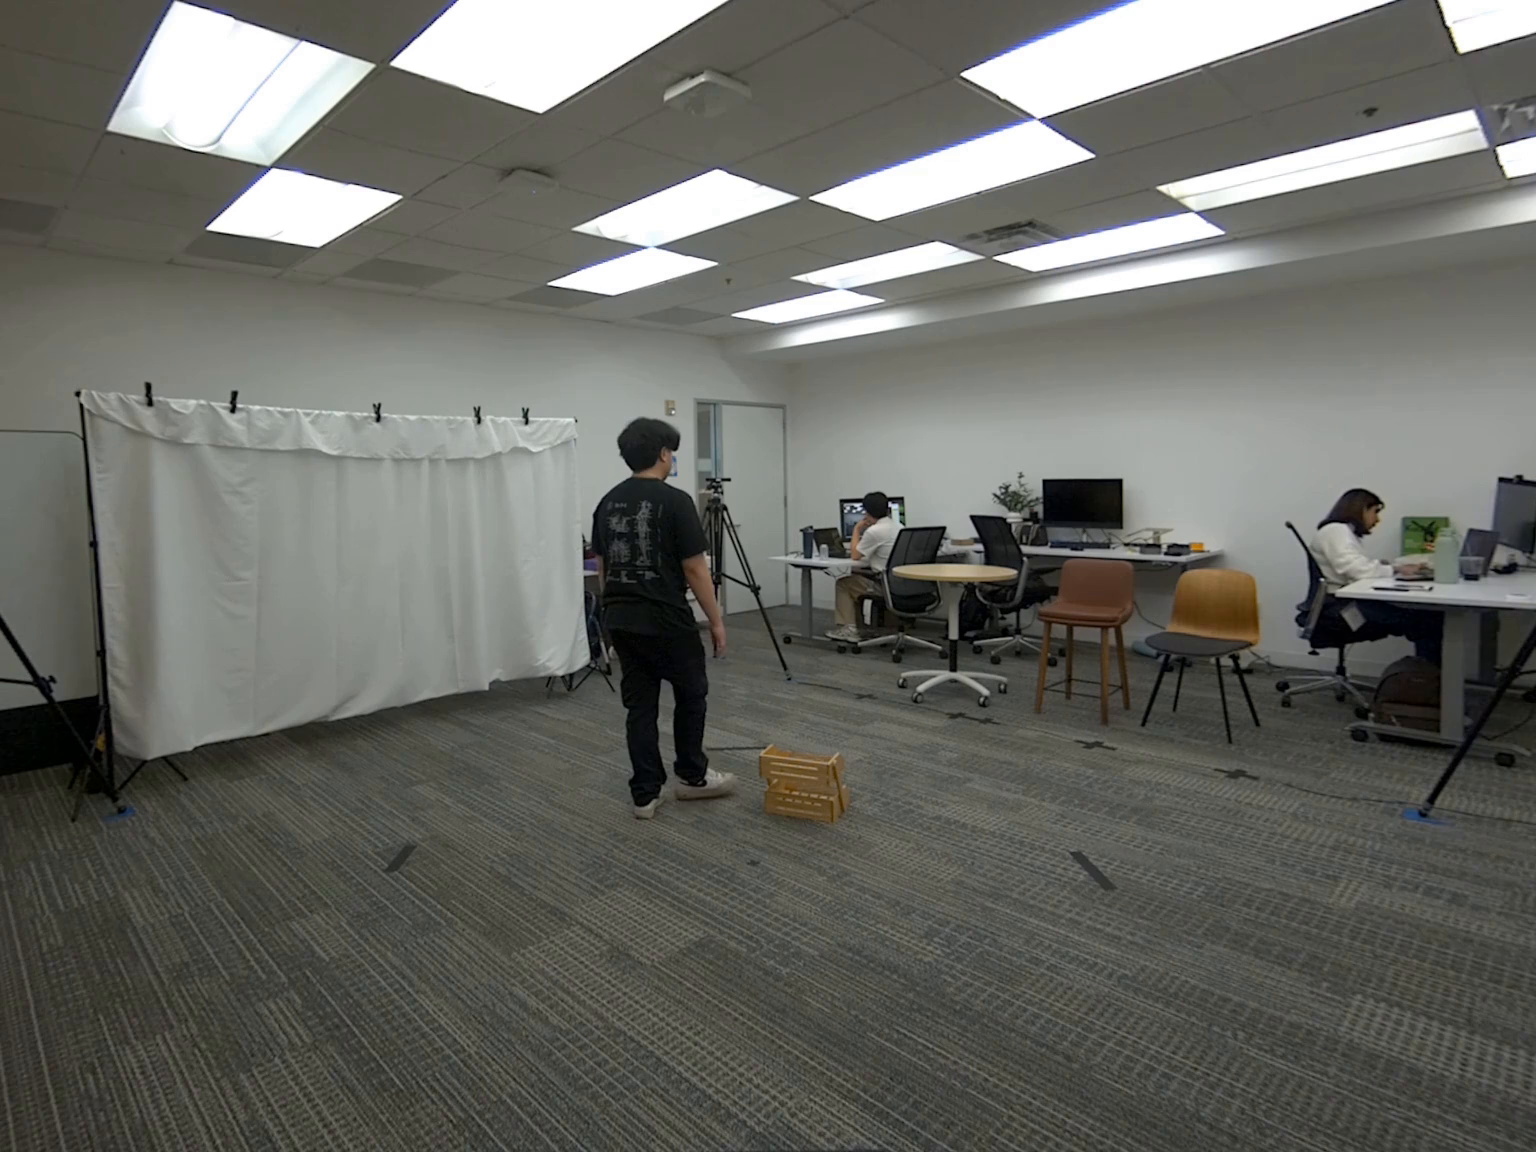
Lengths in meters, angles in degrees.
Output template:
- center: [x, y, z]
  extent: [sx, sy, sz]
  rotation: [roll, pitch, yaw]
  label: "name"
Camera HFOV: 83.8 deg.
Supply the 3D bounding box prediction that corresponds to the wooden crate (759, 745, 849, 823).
- center: [0.163, 0.850, 3.598]
  extent: [0.331, 0.272, 0.297]
  rotation: [2, 7, 23]
  label: "wooden crate"
